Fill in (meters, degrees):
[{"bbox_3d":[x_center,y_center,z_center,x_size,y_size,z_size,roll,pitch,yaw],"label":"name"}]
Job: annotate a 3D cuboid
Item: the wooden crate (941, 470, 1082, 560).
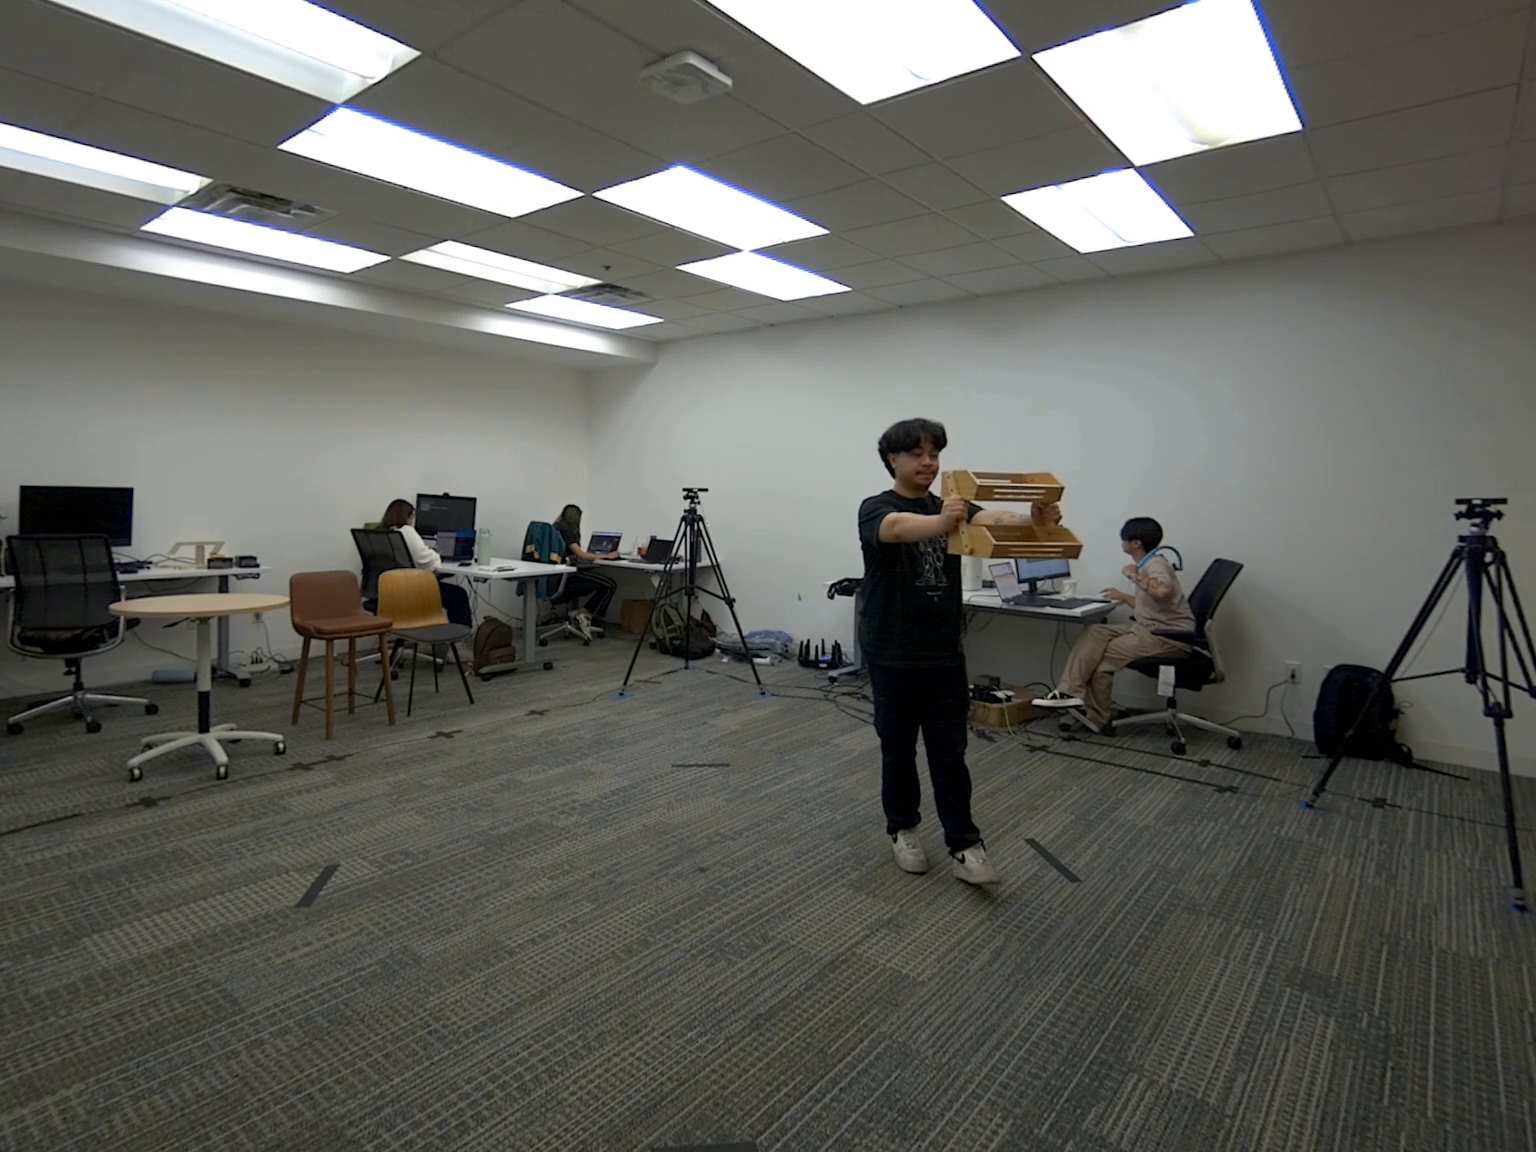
[{"bbox_3d":[0.755,-0.202,2.609,0.319,0.273,0.308,0,3,-18],"label":"wooden crate"}]
